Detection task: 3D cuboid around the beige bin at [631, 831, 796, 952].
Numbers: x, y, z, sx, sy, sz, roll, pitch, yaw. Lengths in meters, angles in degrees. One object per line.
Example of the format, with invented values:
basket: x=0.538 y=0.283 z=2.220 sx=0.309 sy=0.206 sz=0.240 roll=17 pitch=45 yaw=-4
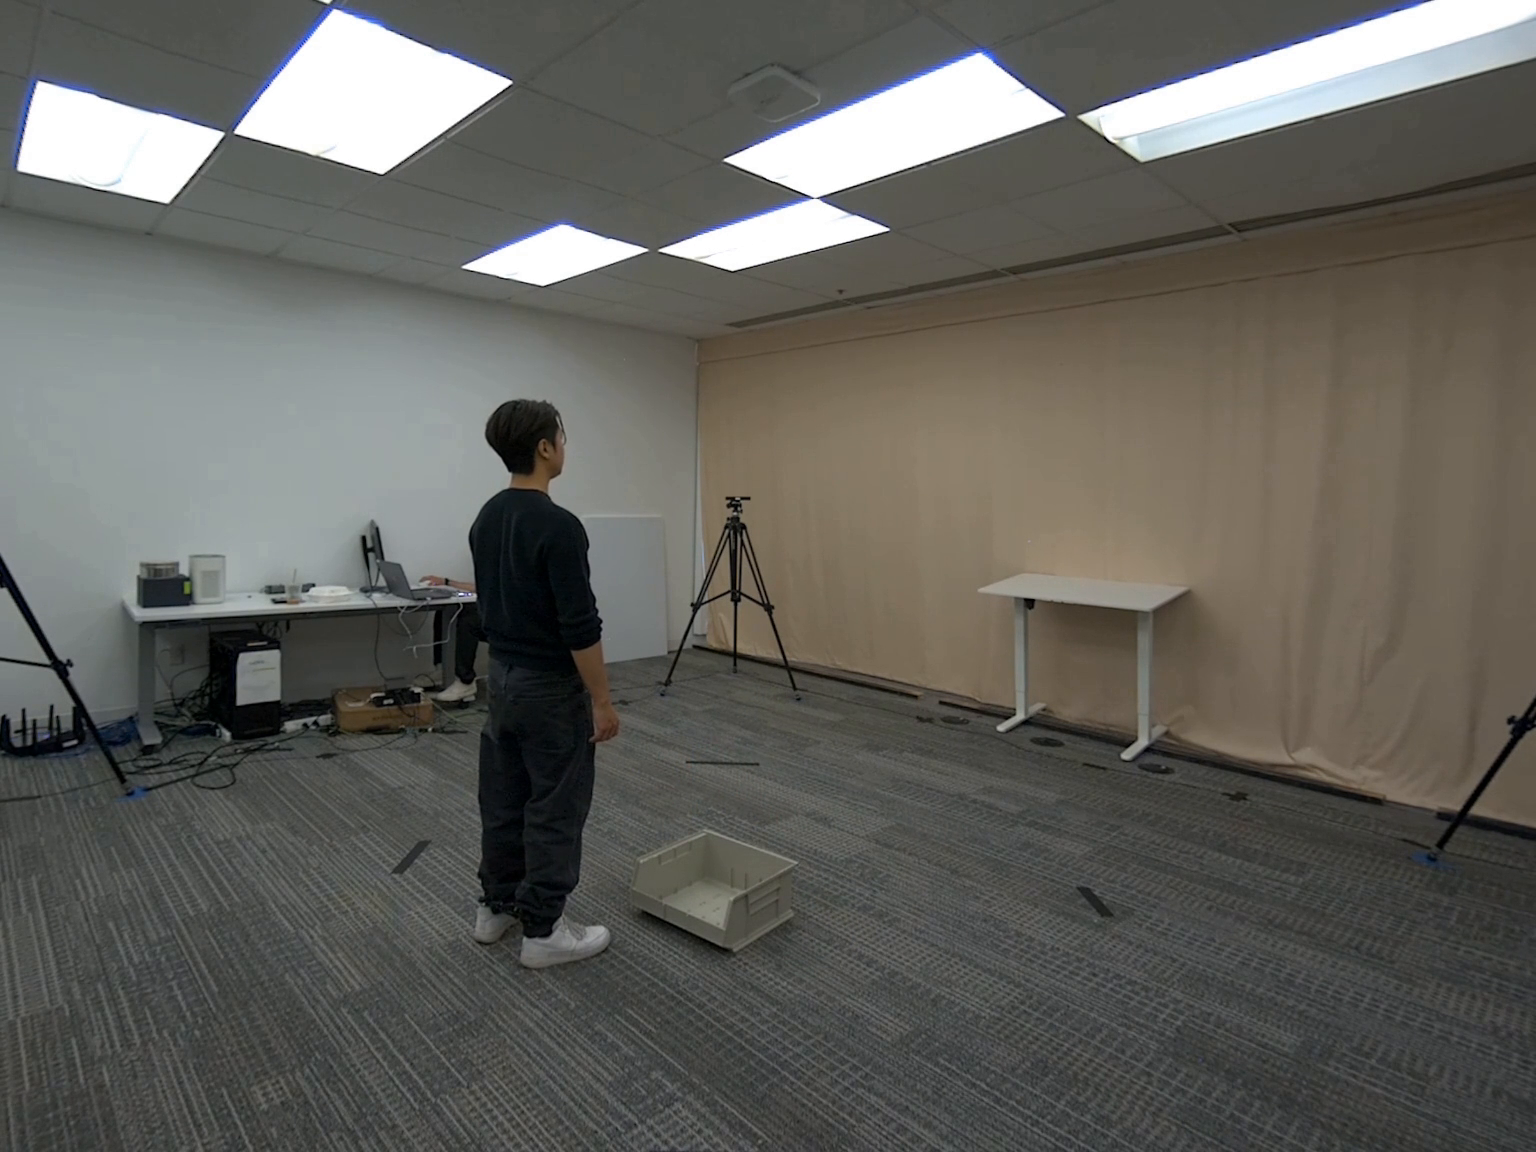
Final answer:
beige bin: x=-0.185 y=1.044 z=2.807 sx=0.433 sy=0.188 sz=0.369 roll=4 pitch=5 yaw=38
